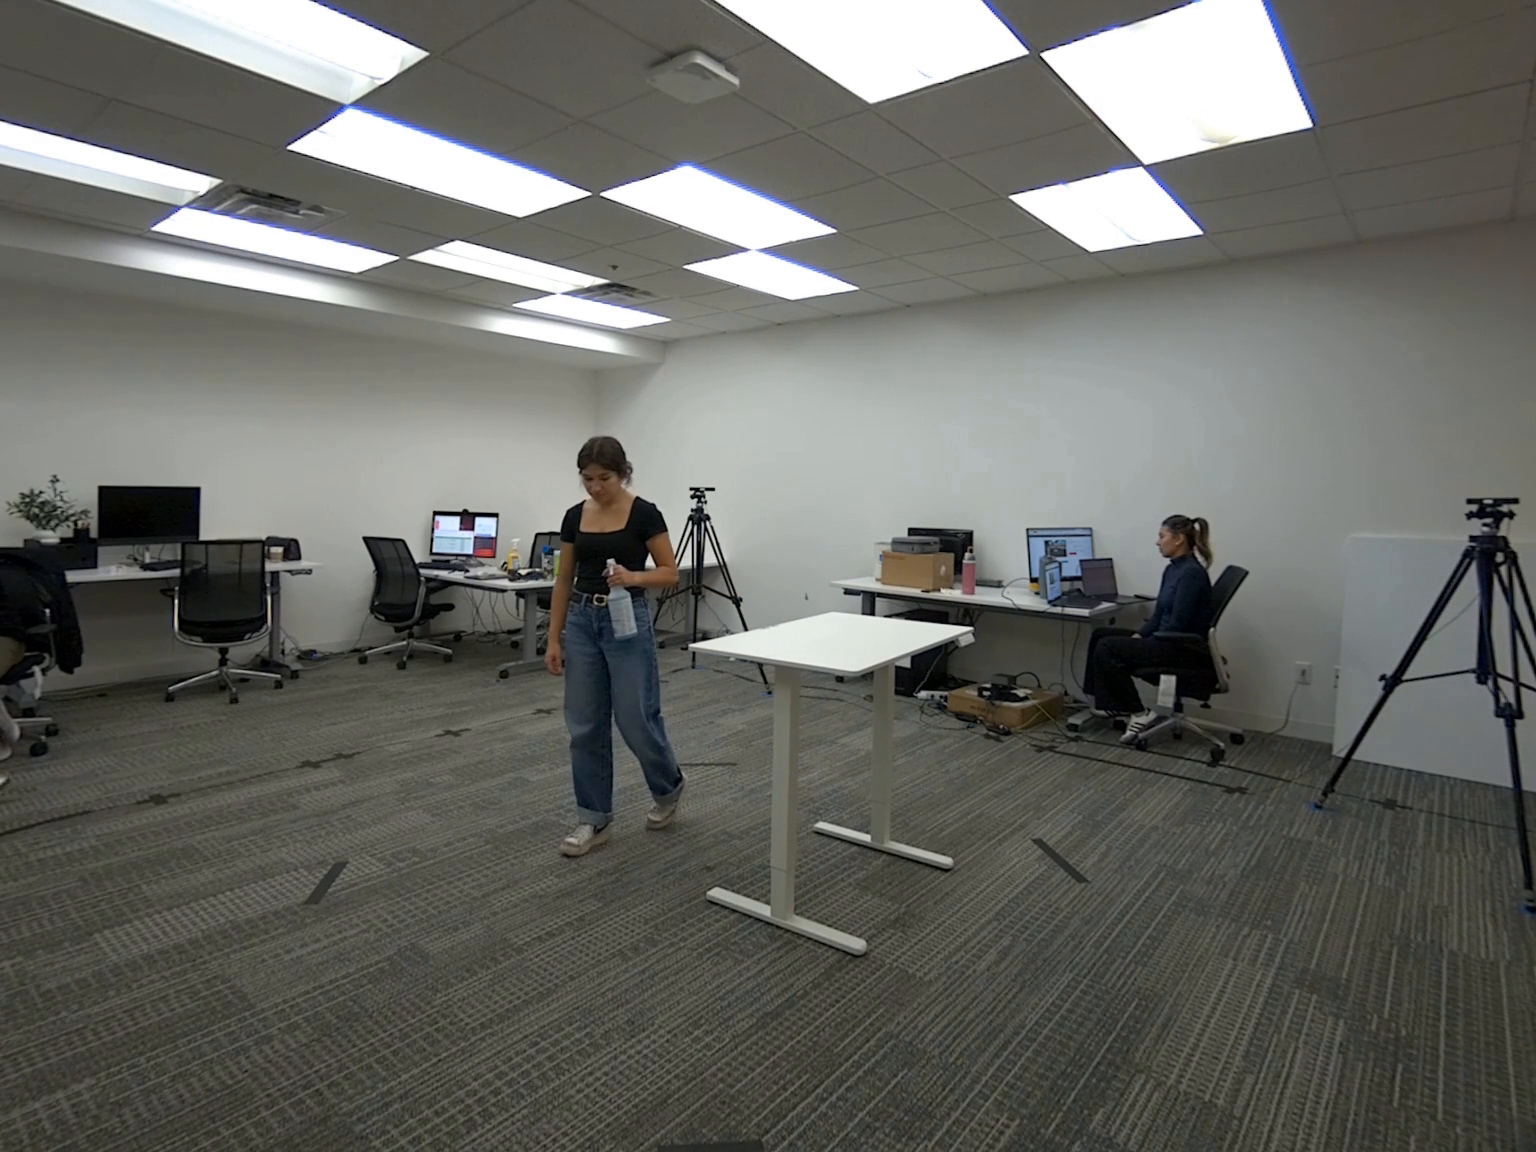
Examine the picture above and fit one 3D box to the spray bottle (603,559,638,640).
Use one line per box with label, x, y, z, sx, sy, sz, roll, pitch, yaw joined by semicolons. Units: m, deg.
spray bottle;-0.555;0.078;3.127;0.089;0.296;0.088;-6;6;28
